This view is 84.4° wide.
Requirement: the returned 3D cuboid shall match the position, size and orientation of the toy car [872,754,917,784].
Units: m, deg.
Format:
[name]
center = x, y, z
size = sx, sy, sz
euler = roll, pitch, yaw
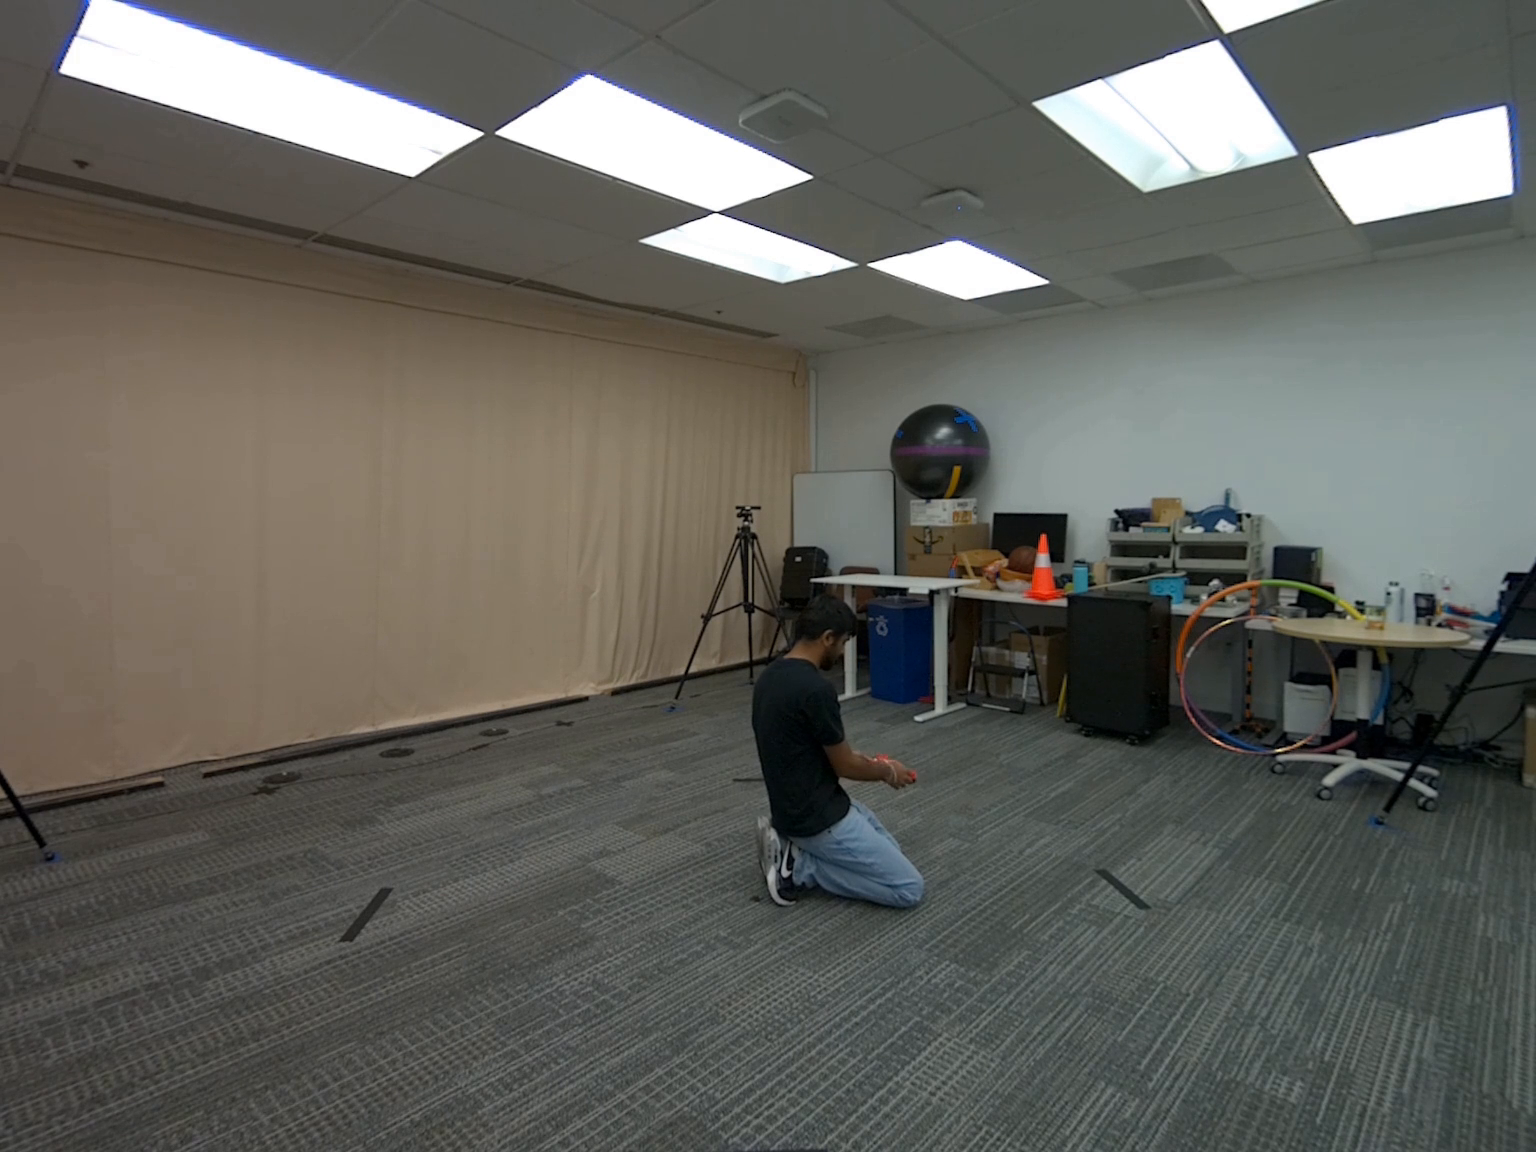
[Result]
[toy car]
center = 0.487, 0.775, 3.349
size = 0.128, 0.083, 0.260
euler = 5, 6, -20
